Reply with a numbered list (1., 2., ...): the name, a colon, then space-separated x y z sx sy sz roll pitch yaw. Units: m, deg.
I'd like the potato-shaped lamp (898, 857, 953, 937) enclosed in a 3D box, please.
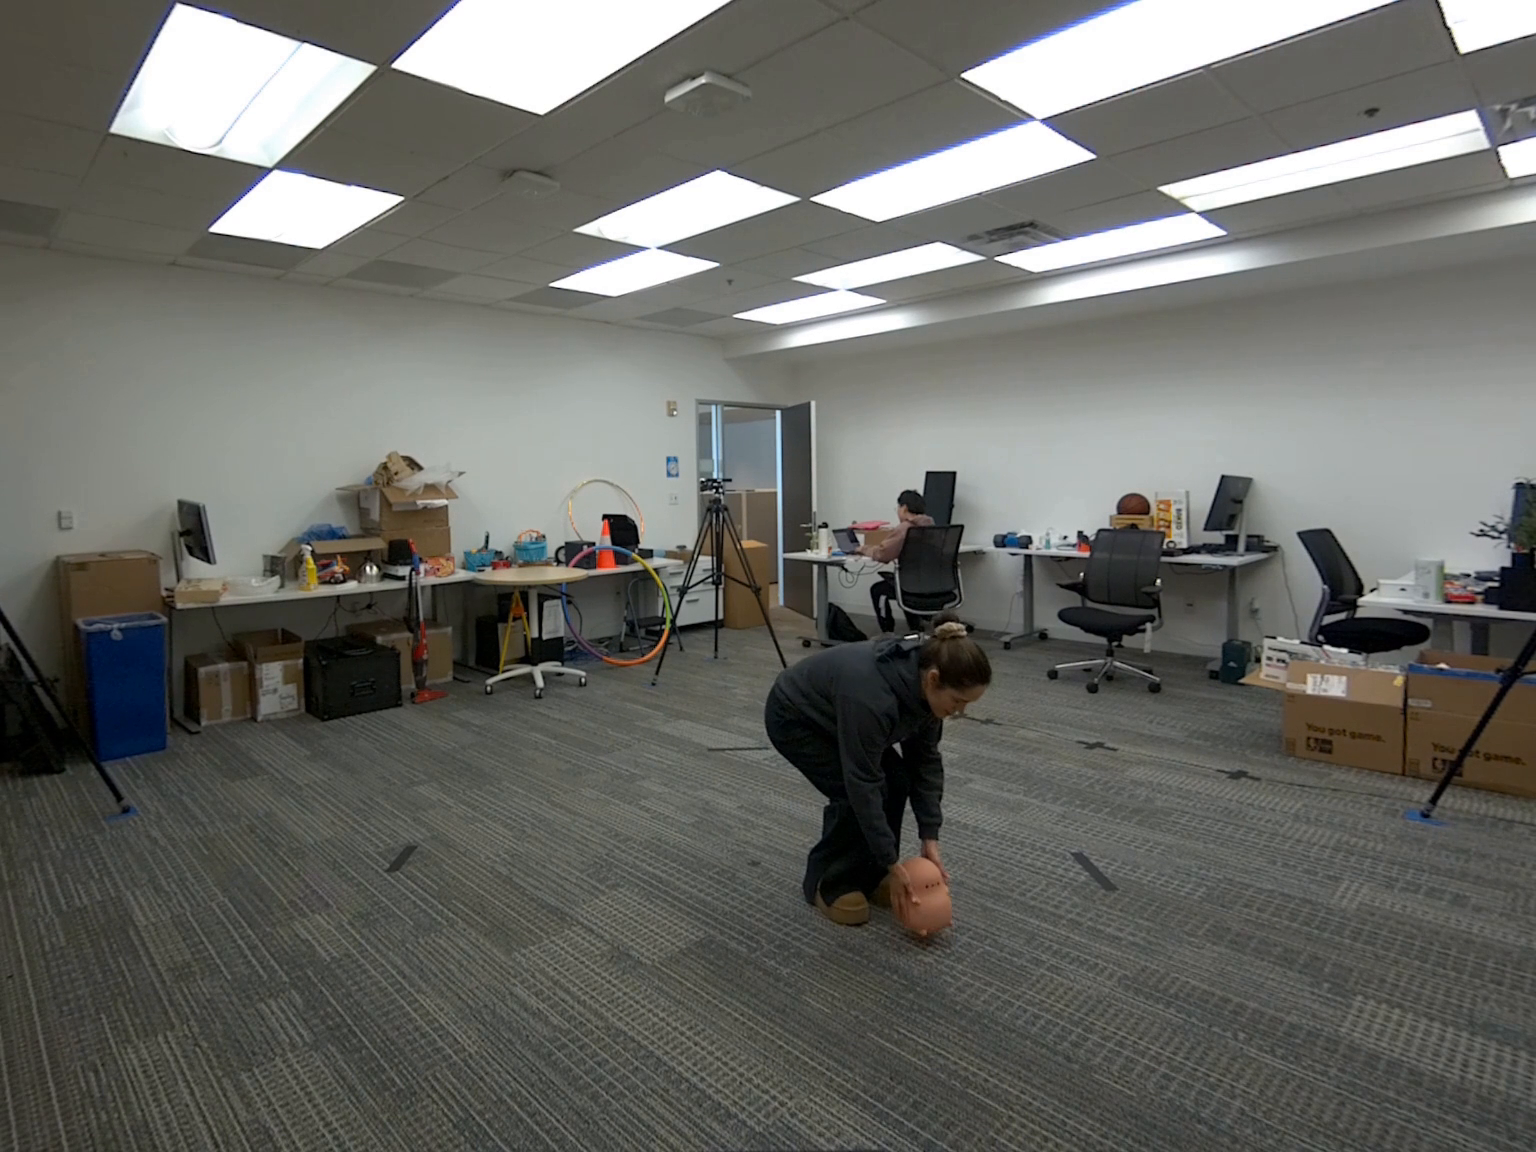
1. potato-shaped lamp: 0.469 0.936 2.568 0.161 0.197 0.175 -9 4 -28
